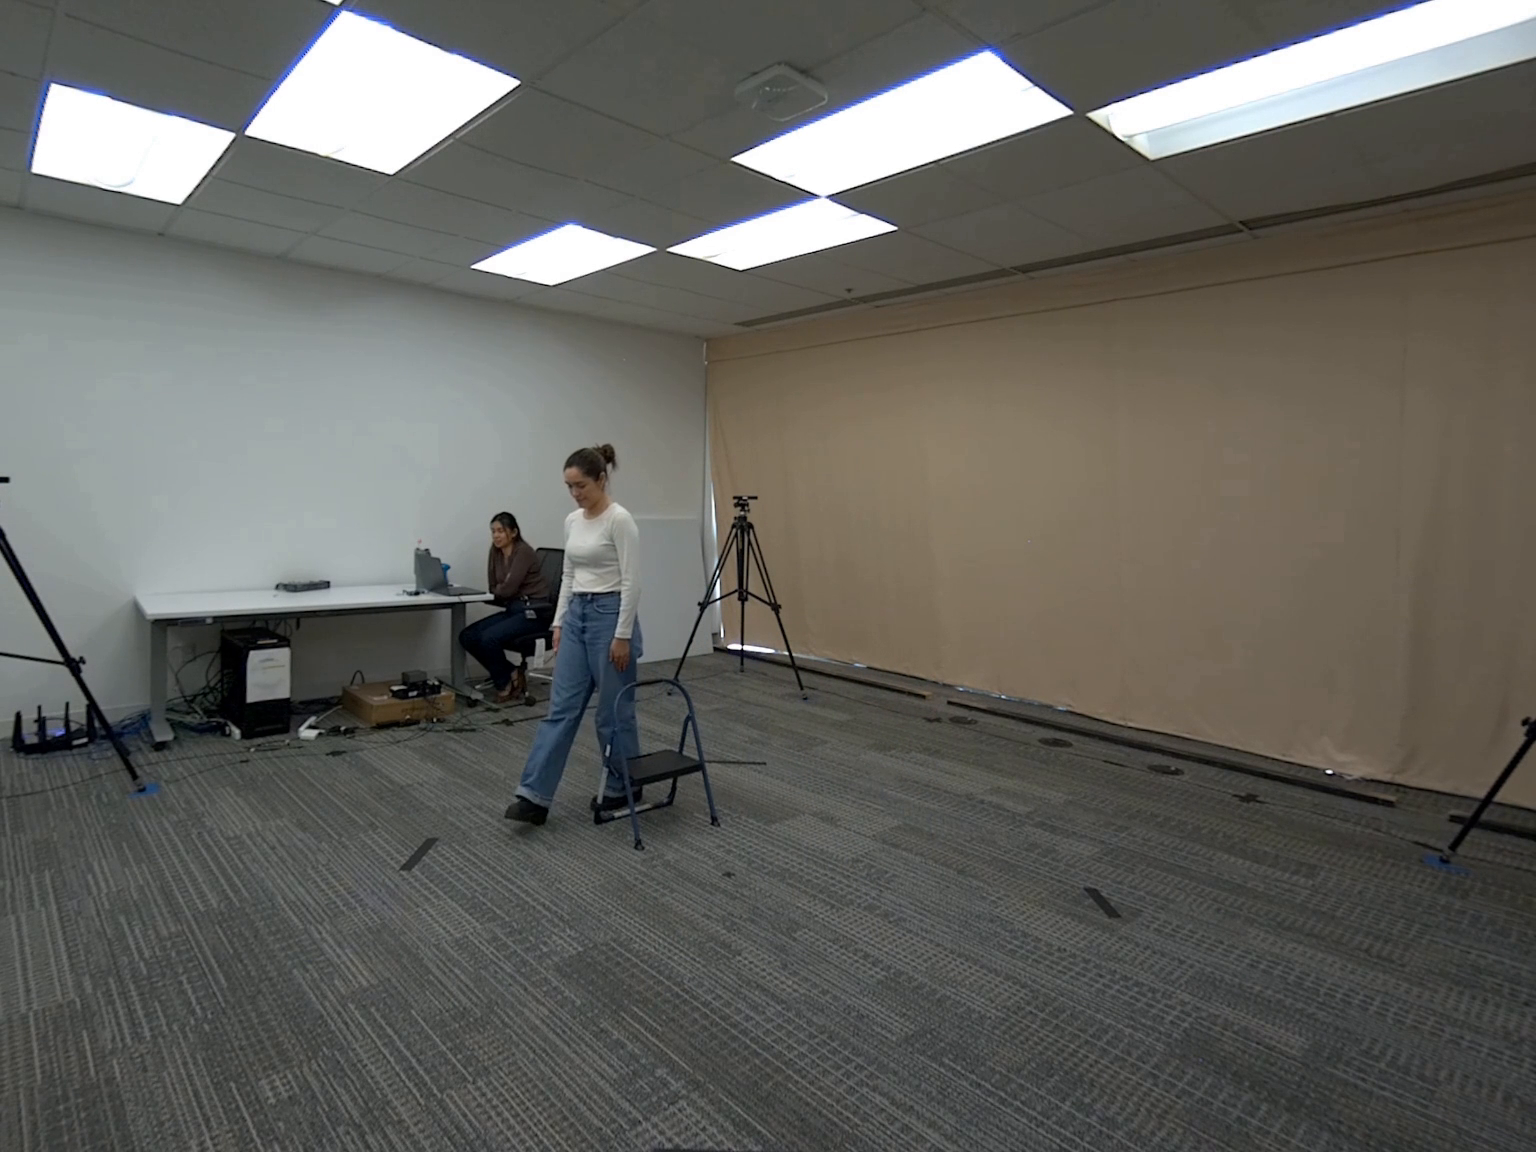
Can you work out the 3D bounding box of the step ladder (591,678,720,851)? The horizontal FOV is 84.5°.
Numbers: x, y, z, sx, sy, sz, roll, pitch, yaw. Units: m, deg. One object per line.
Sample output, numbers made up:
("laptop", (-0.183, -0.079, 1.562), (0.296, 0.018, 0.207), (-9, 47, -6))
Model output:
("step ladder", (-0.471, 0.755, 3.550), (0.421, 0.605, 0.358), (-2, 4, -43))
